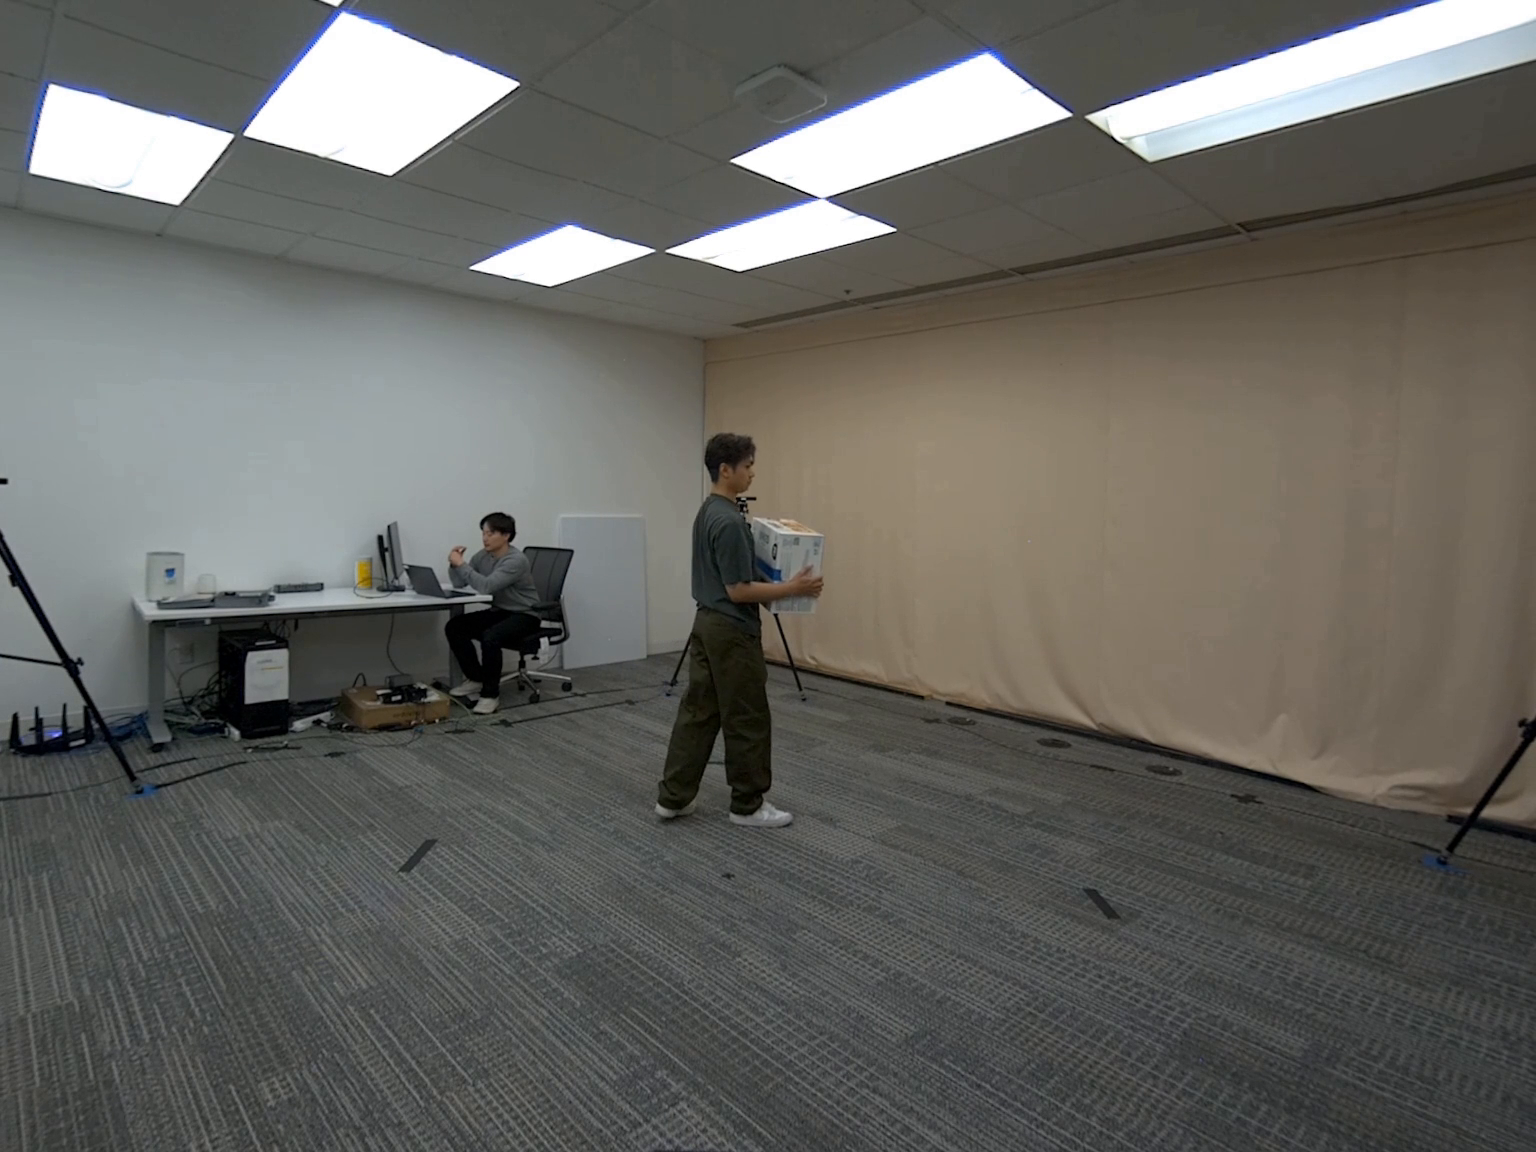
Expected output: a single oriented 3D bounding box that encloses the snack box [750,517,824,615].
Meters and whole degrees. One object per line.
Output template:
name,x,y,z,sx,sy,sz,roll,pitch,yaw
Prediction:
snack box,0.057,-0.054,3.668,0.203,0.338,0.413,2,12,-18
